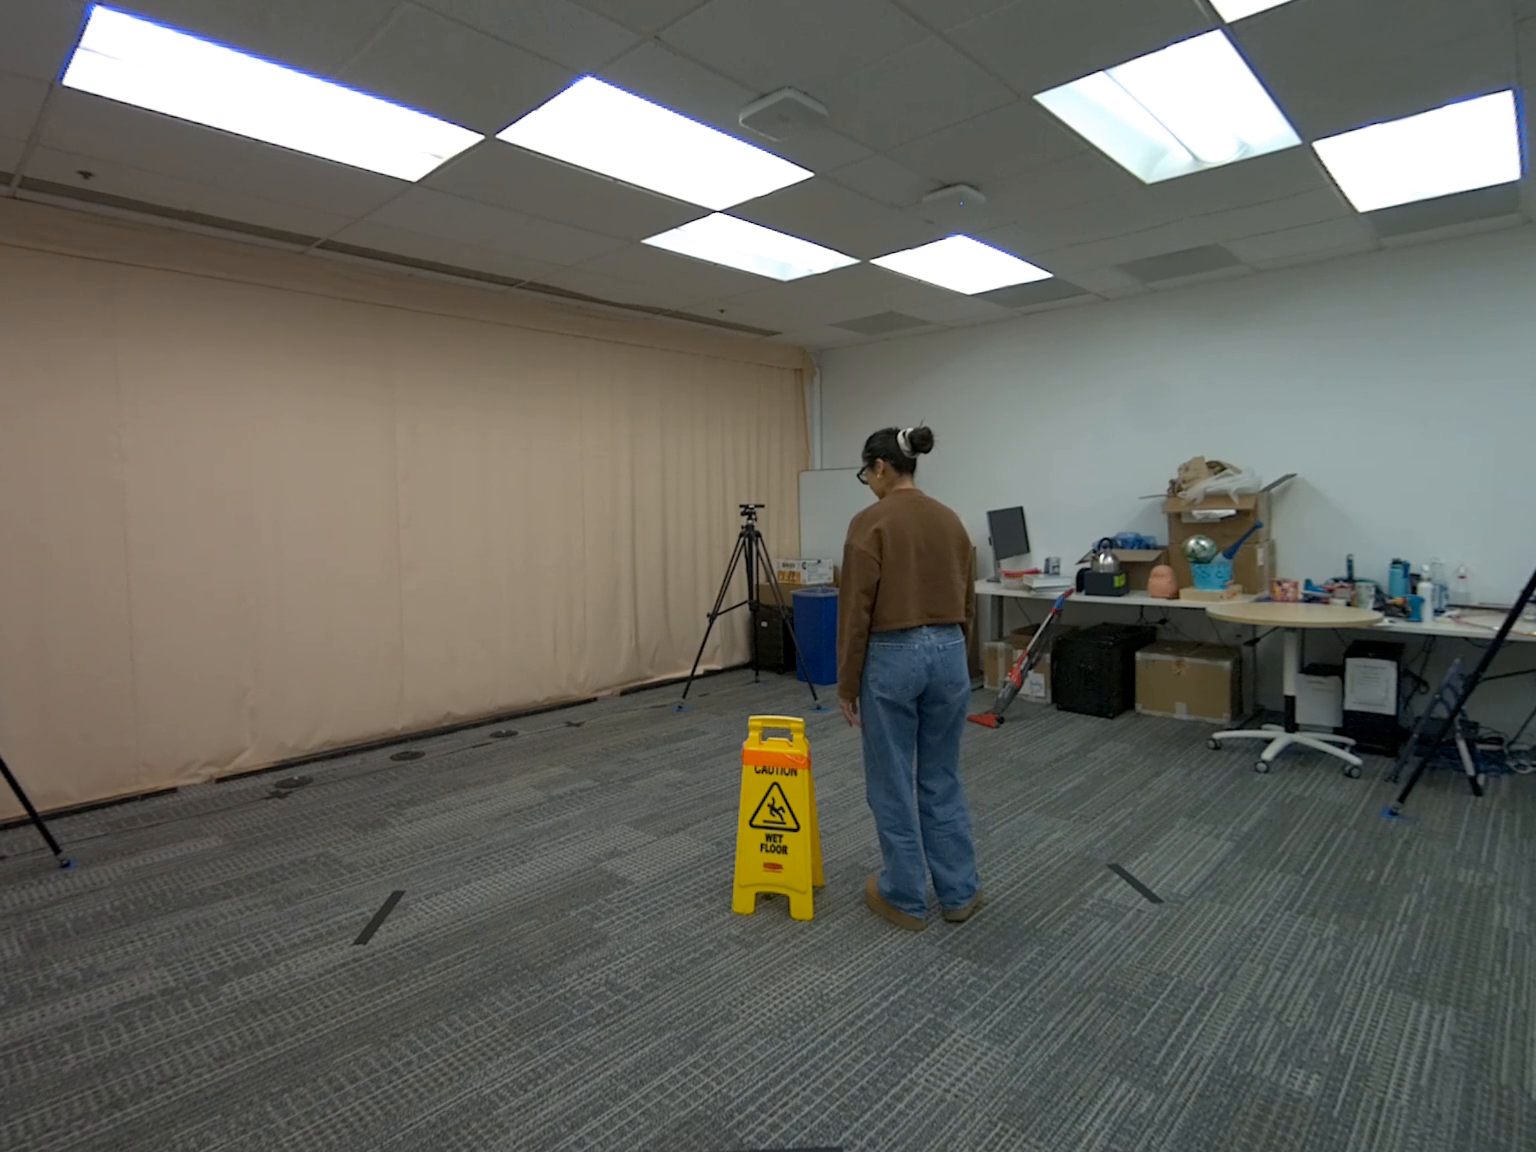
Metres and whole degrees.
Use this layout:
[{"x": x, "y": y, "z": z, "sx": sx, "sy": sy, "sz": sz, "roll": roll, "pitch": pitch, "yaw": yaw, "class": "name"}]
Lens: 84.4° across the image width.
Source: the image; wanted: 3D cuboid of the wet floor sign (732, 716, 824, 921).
[{"x": 0.039, "y": 0.819, "z": 2.966, "sx": 0.287, "sy": 0.645, "sz": 0.286, "roll": 1, "pitch": 3, "yaw": 14, "class": "wet floor sign"}]
